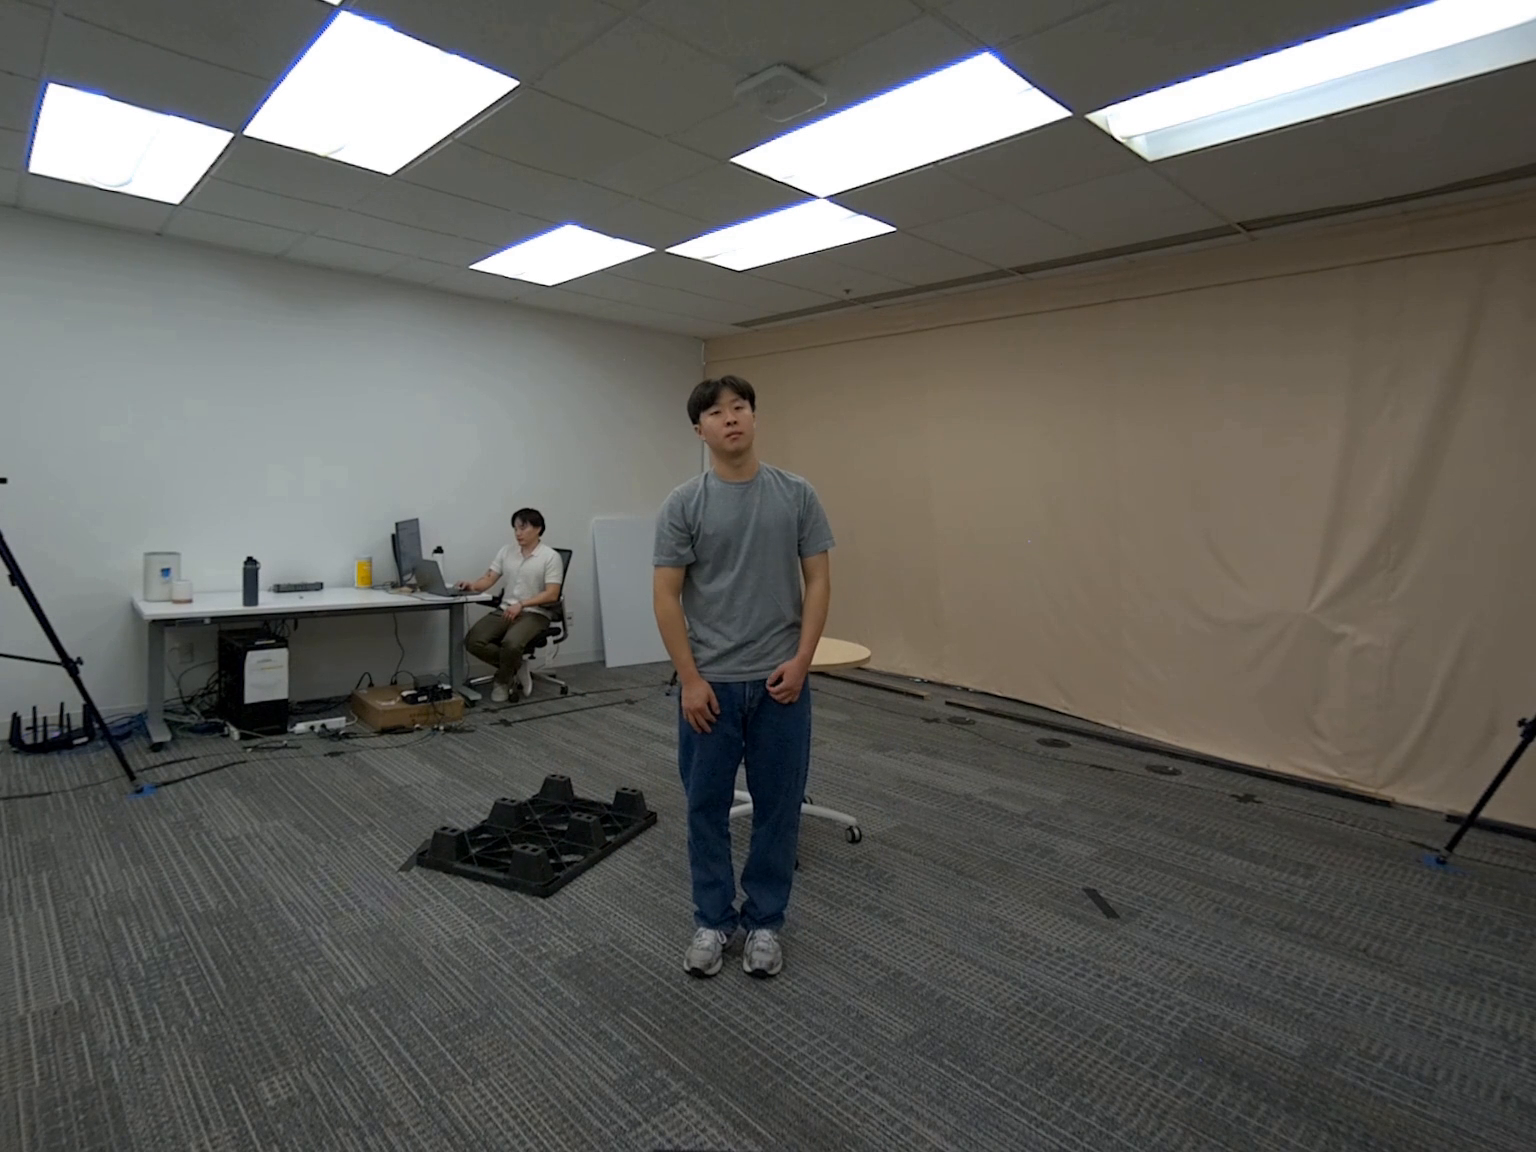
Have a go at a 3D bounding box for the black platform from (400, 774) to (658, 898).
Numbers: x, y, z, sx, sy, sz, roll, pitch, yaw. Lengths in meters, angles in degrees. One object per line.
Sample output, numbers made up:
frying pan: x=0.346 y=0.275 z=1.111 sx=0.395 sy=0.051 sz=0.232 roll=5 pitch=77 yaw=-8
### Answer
black platform: x=-0.897 y=1.000 z=3.360 sx=0.616 sy=0.143 sz=0.793 roll=3 pitch=6 yaw=22
